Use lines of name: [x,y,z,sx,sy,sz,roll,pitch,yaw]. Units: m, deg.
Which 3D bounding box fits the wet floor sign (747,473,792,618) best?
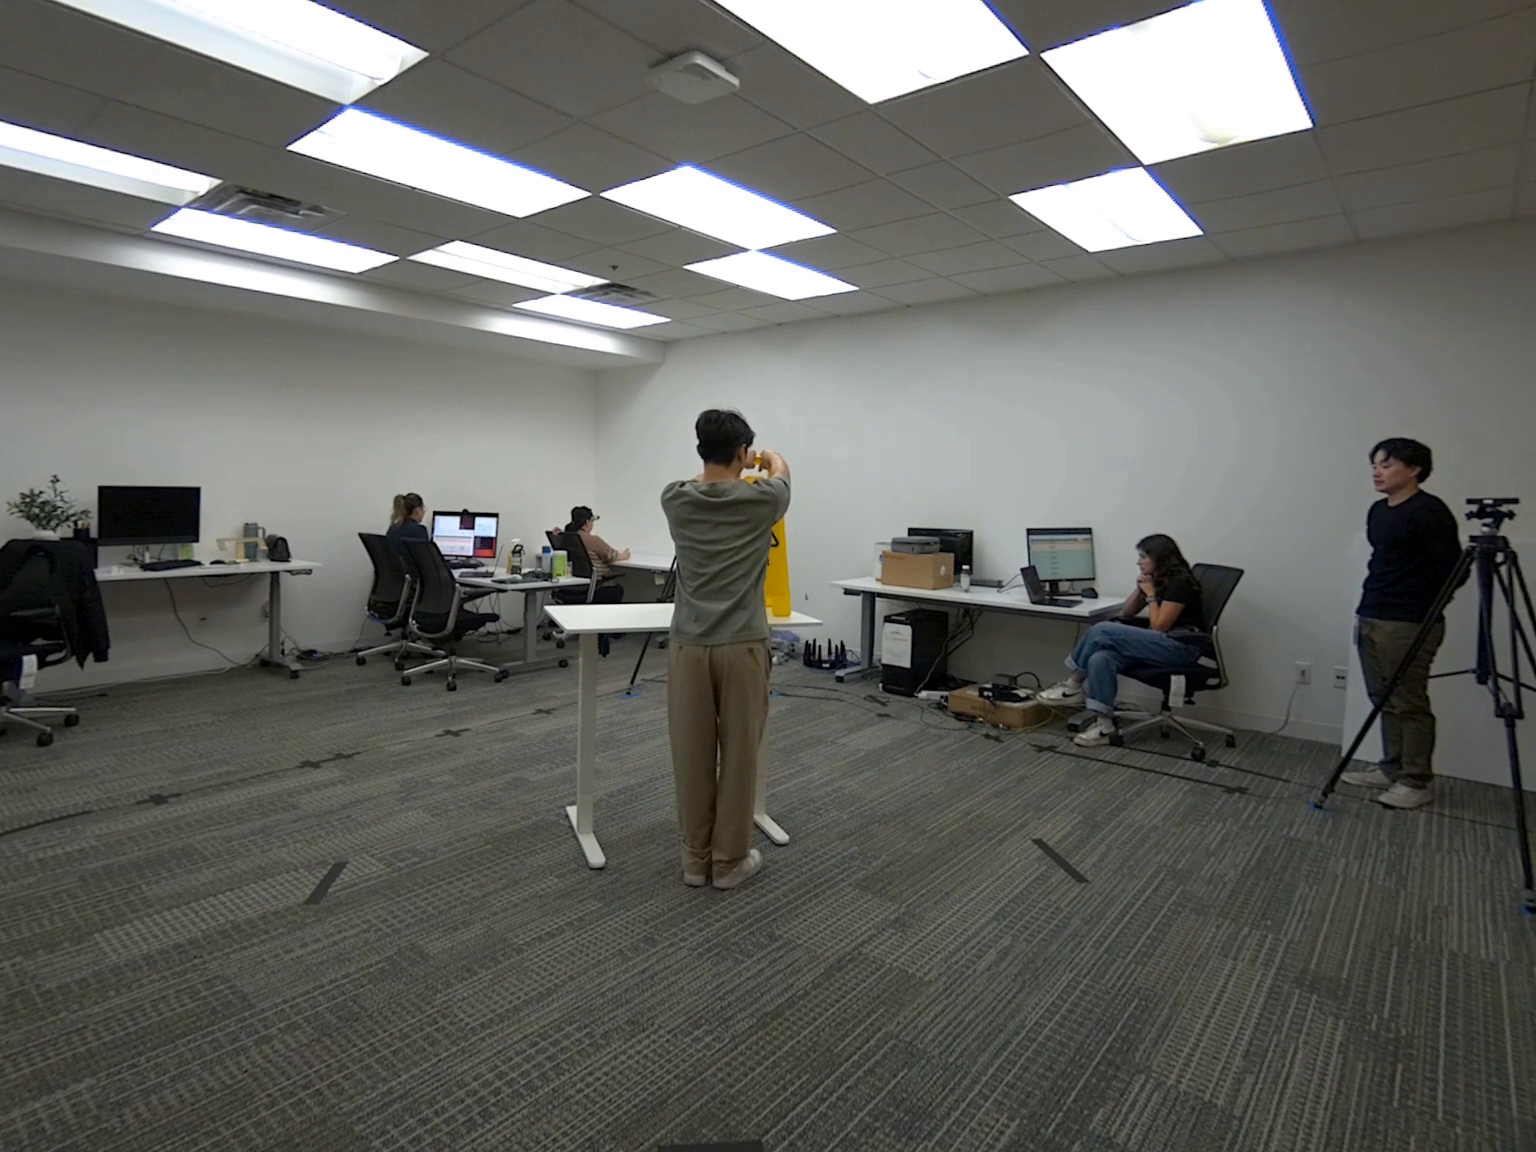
wet floor sign: [-0.070,-0.172,3.536,0.279,0.644,0.294,3,3,-12]
